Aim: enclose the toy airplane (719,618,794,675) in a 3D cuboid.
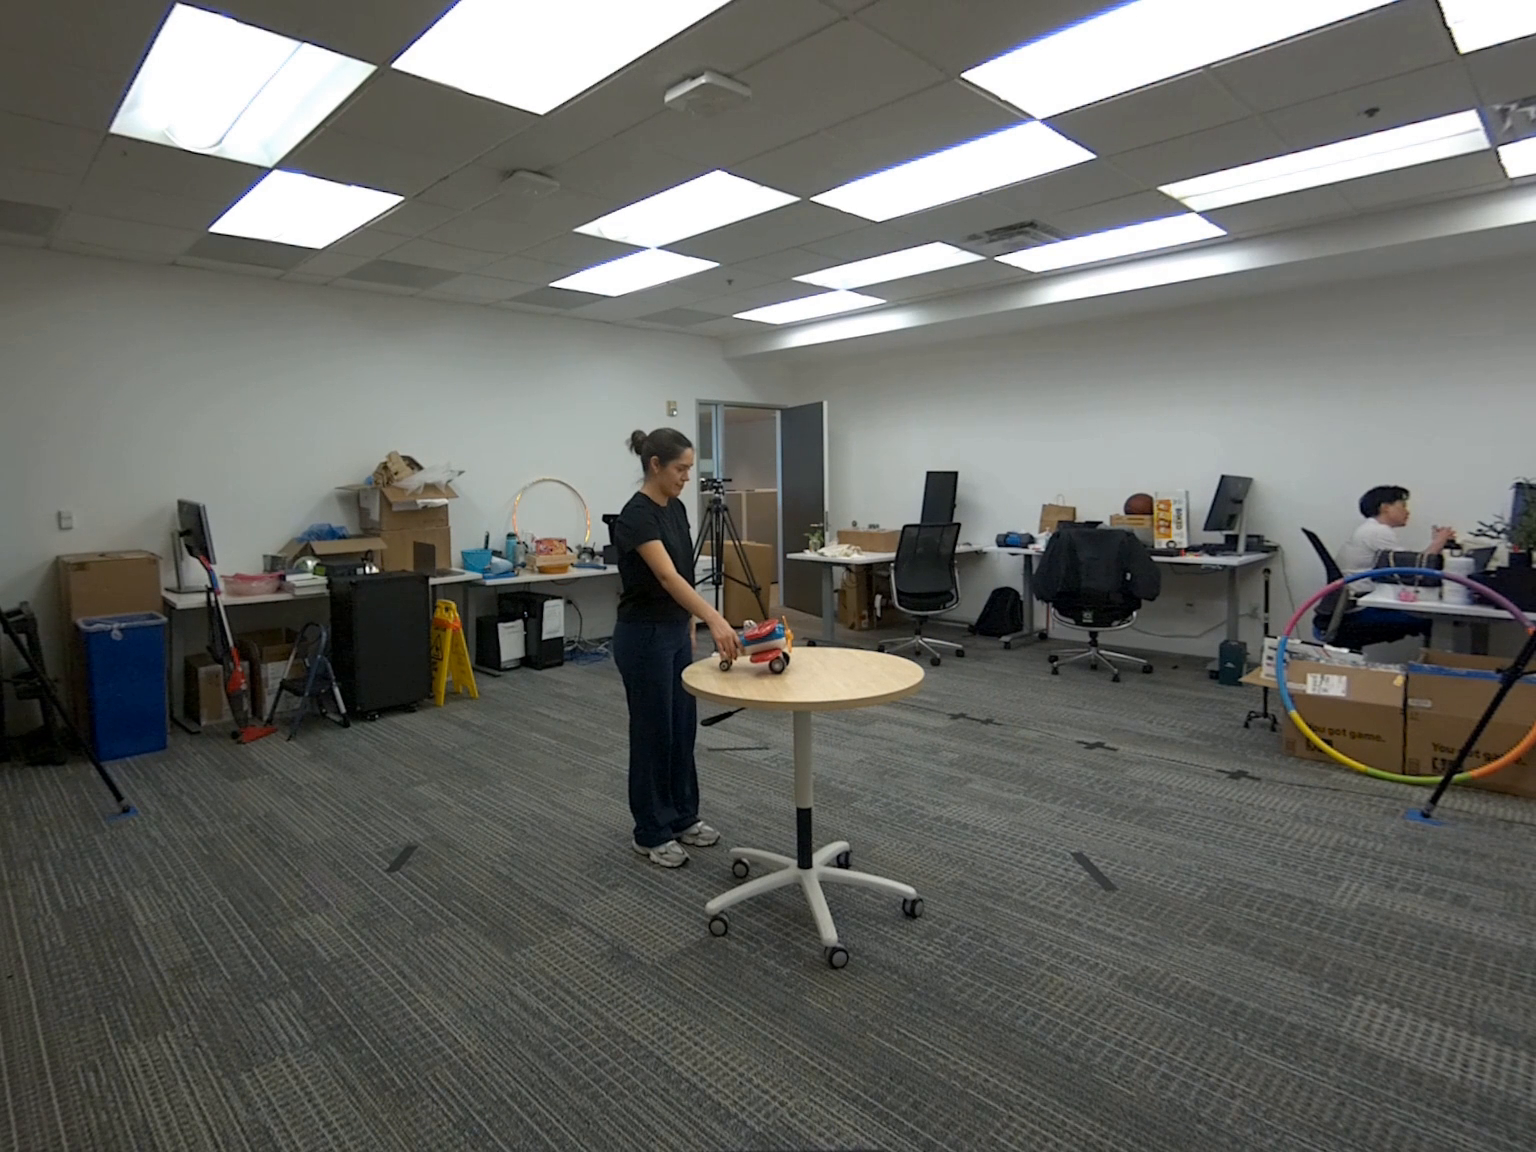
[{"bbox_3d":[-0.047,0.227,2.731,0.254,0.156,0.257,-3,4,-24],"label":"toy airplane"}]
